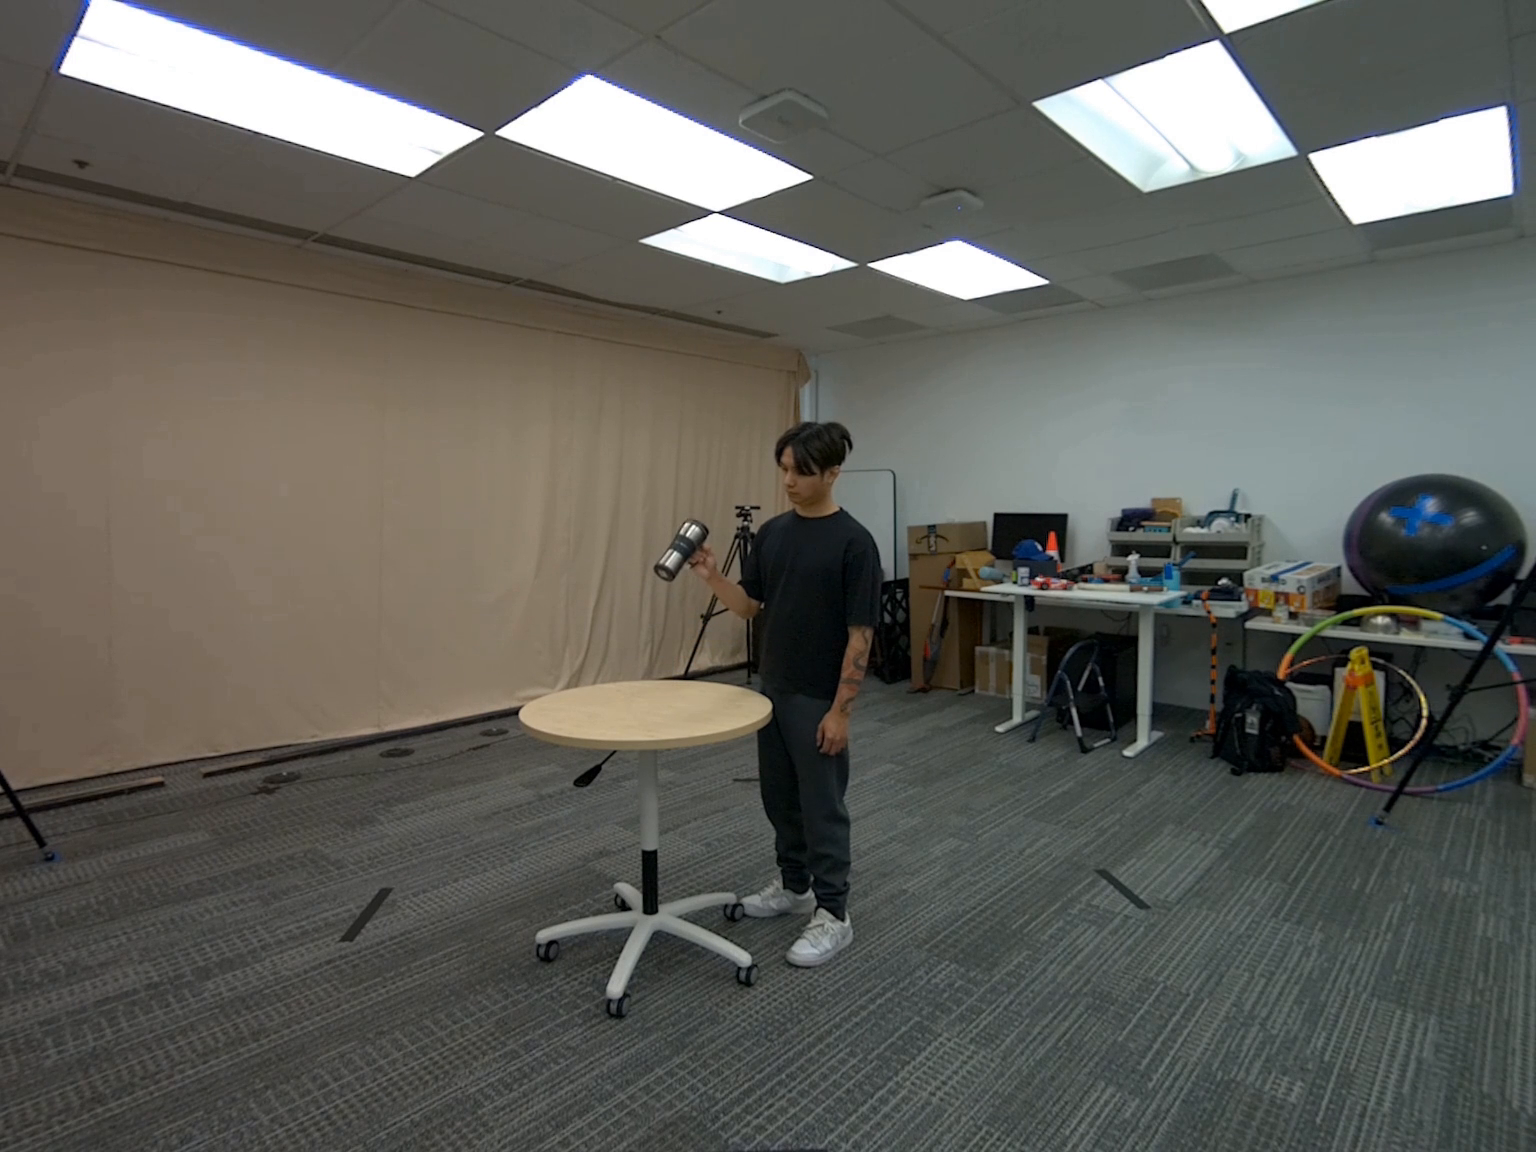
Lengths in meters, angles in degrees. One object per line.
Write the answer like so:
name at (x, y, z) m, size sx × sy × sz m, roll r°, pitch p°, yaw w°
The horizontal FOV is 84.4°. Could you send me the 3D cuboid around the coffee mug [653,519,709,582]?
coffee mug at (-0.252, -0.058, 2.584) m, size 0.121 × 0.203 × 0.089 m, roll 36°, pitch -32°, yaw -8°
